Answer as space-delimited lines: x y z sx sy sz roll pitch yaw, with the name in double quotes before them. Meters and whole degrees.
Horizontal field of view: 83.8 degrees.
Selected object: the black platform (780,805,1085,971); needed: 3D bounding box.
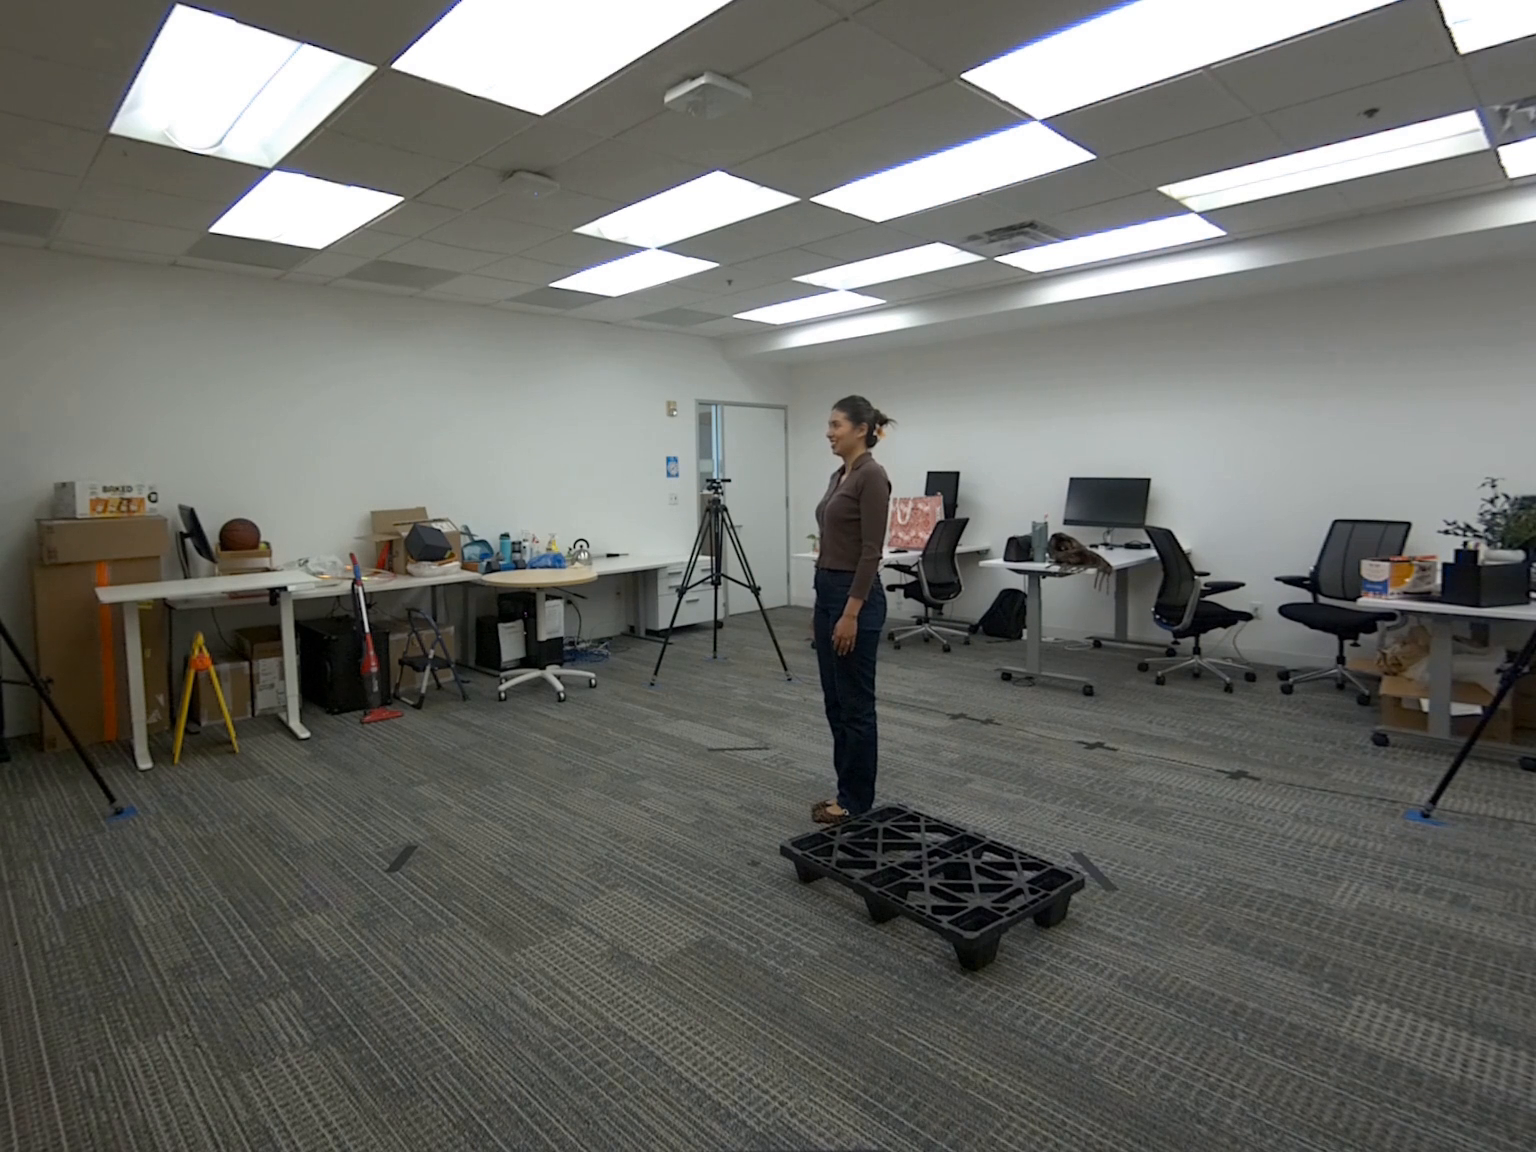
"black platform" 0.521 1.001 2.819 0.590 0.142 0.830 -7 8 -38
